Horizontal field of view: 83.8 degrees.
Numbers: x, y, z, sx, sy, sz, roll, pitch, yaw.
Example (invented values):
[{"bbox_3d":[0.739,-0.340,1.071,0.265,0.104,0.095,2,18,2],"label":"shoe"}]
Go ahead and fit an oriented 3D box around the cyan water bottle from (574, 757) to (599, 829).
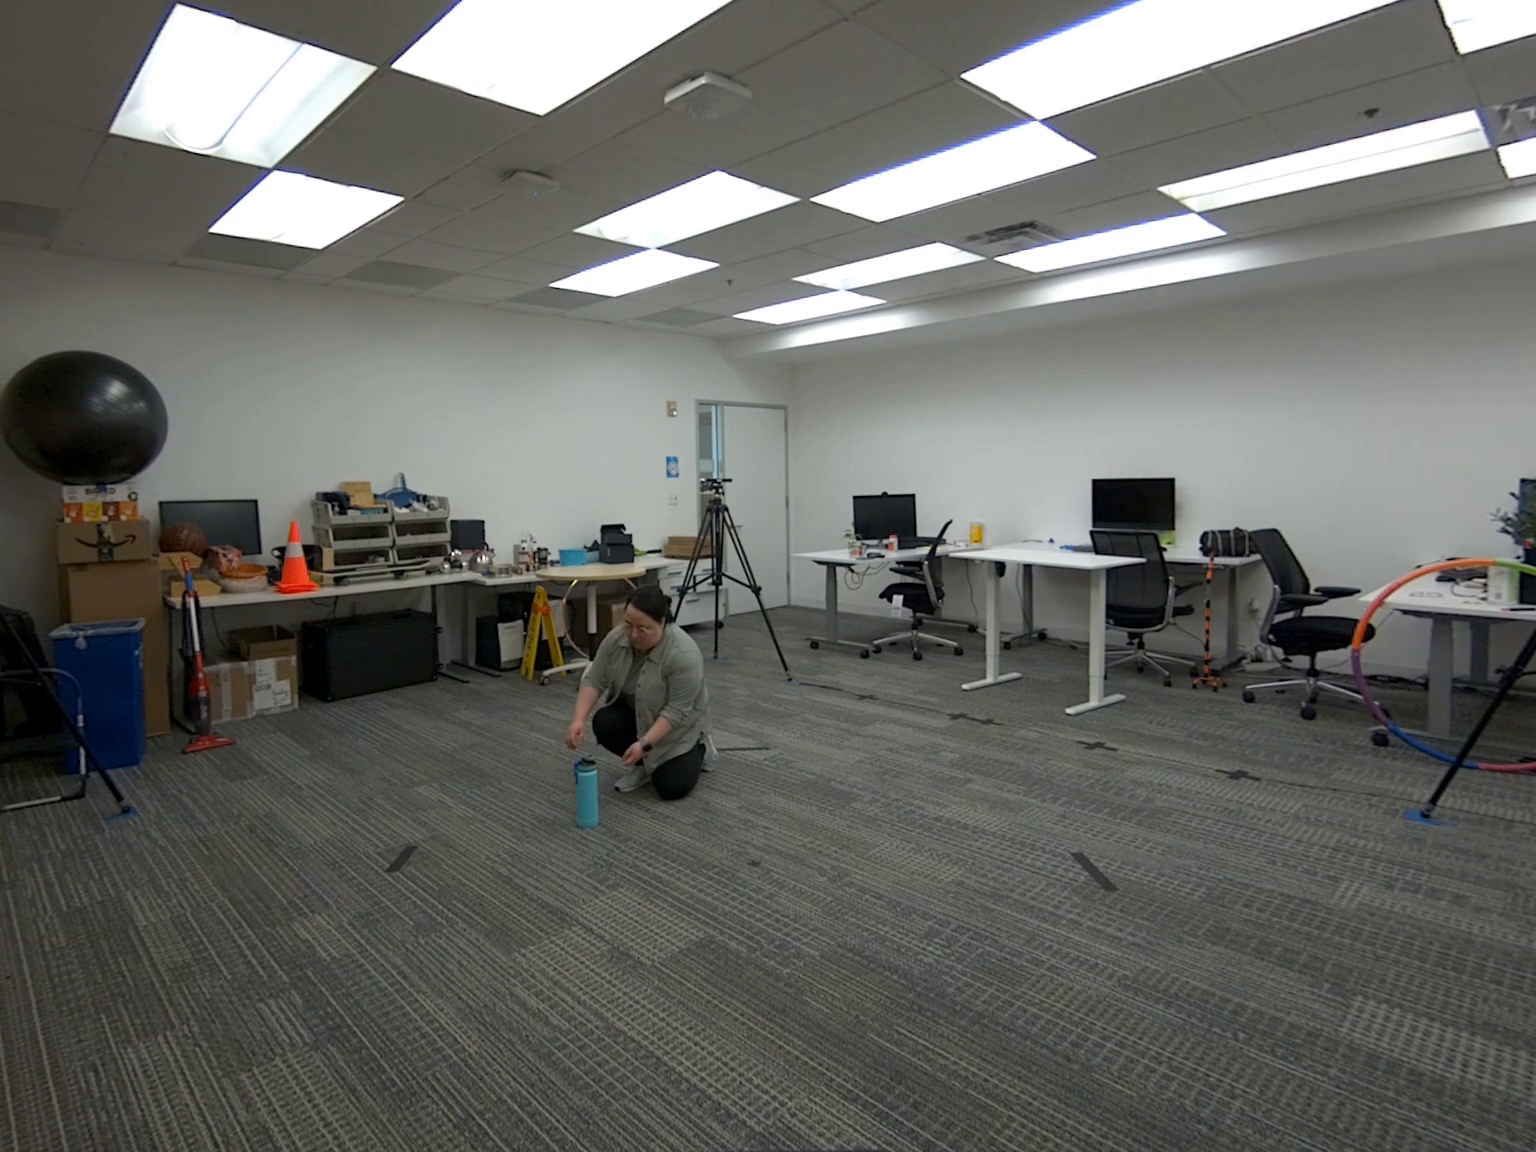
[{"bbox_3d":[-0.747,0.880,3.495,0.092,0.283,0.092,-1,0,-2],"label":"cyan water bottle"}]
